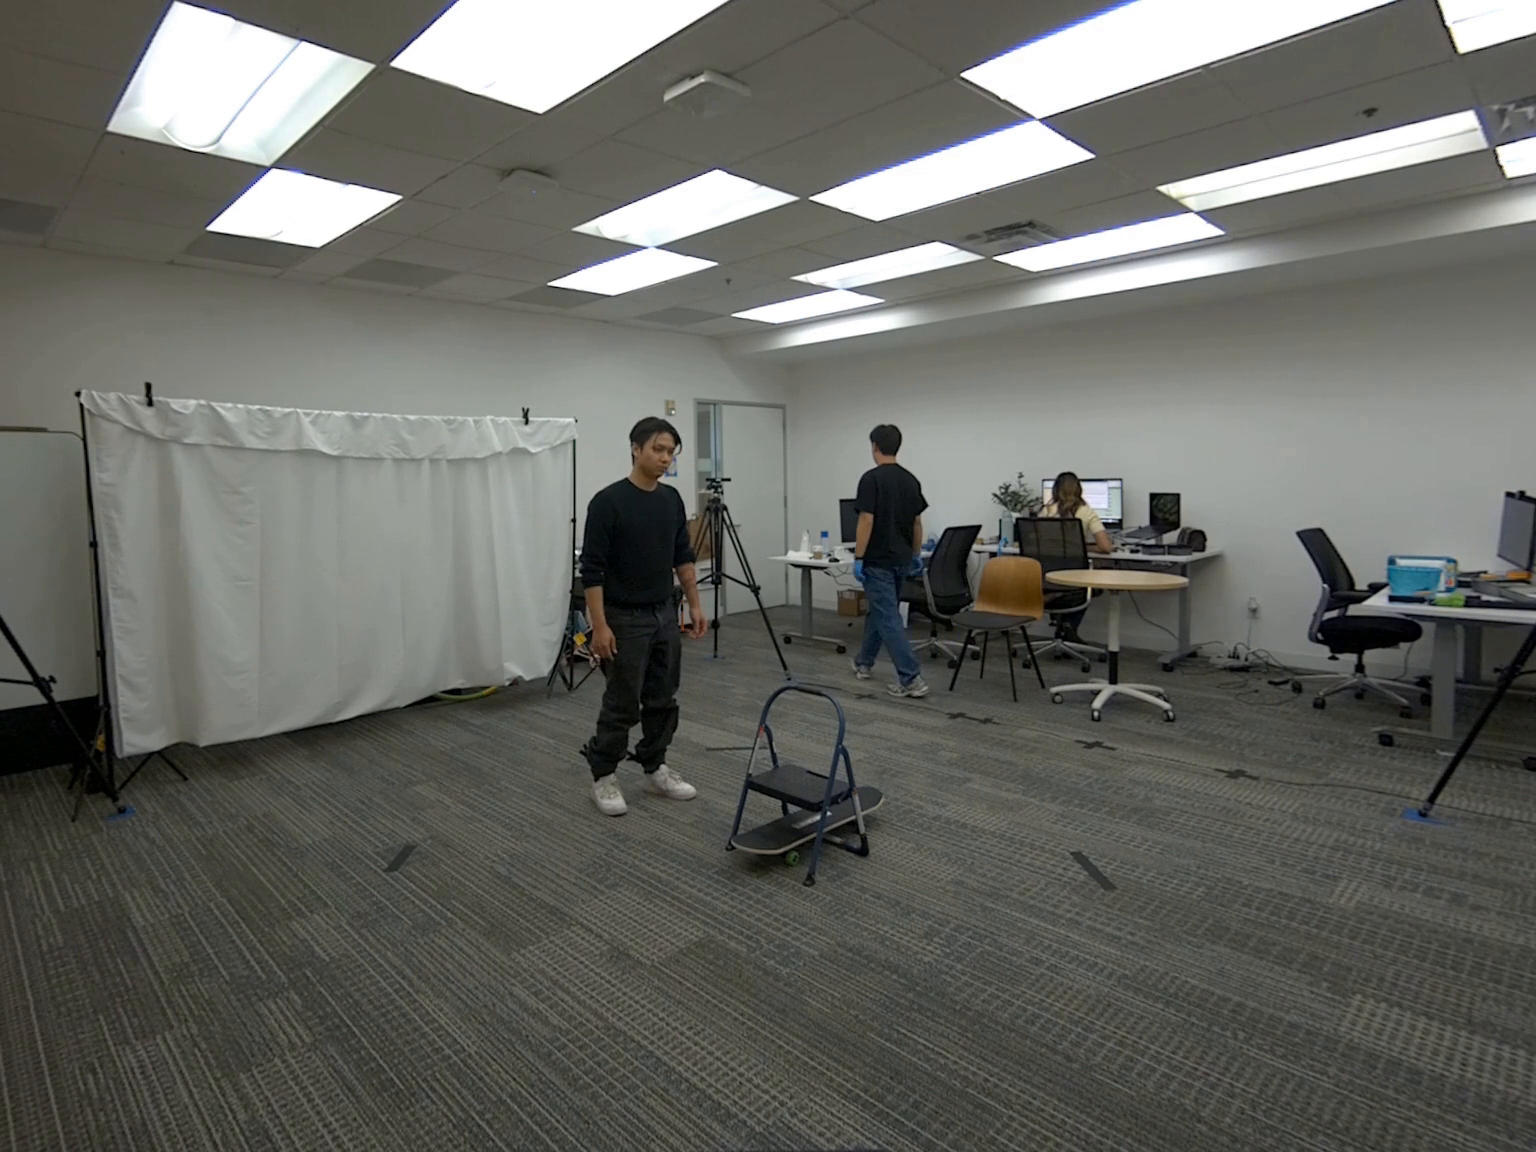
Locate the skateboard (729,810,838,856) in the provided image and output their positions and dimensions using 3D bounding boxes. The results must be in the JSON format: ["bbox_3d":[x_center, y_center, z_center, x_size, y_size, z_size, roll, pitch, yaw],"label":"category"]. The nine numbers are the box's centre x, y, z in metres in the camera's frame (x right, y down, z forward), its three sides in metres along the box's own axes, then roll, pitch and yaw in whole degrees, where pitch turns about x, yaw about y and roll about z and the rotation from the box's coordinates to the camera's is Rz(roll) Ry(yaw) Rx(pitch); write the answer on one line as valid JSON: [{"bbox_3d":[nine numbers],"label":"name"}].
[{"bbox_3d":[0.163,0.957,3.273,0.765,0.110,0.199,-8,9,-44],"label":"skateboard"}]
